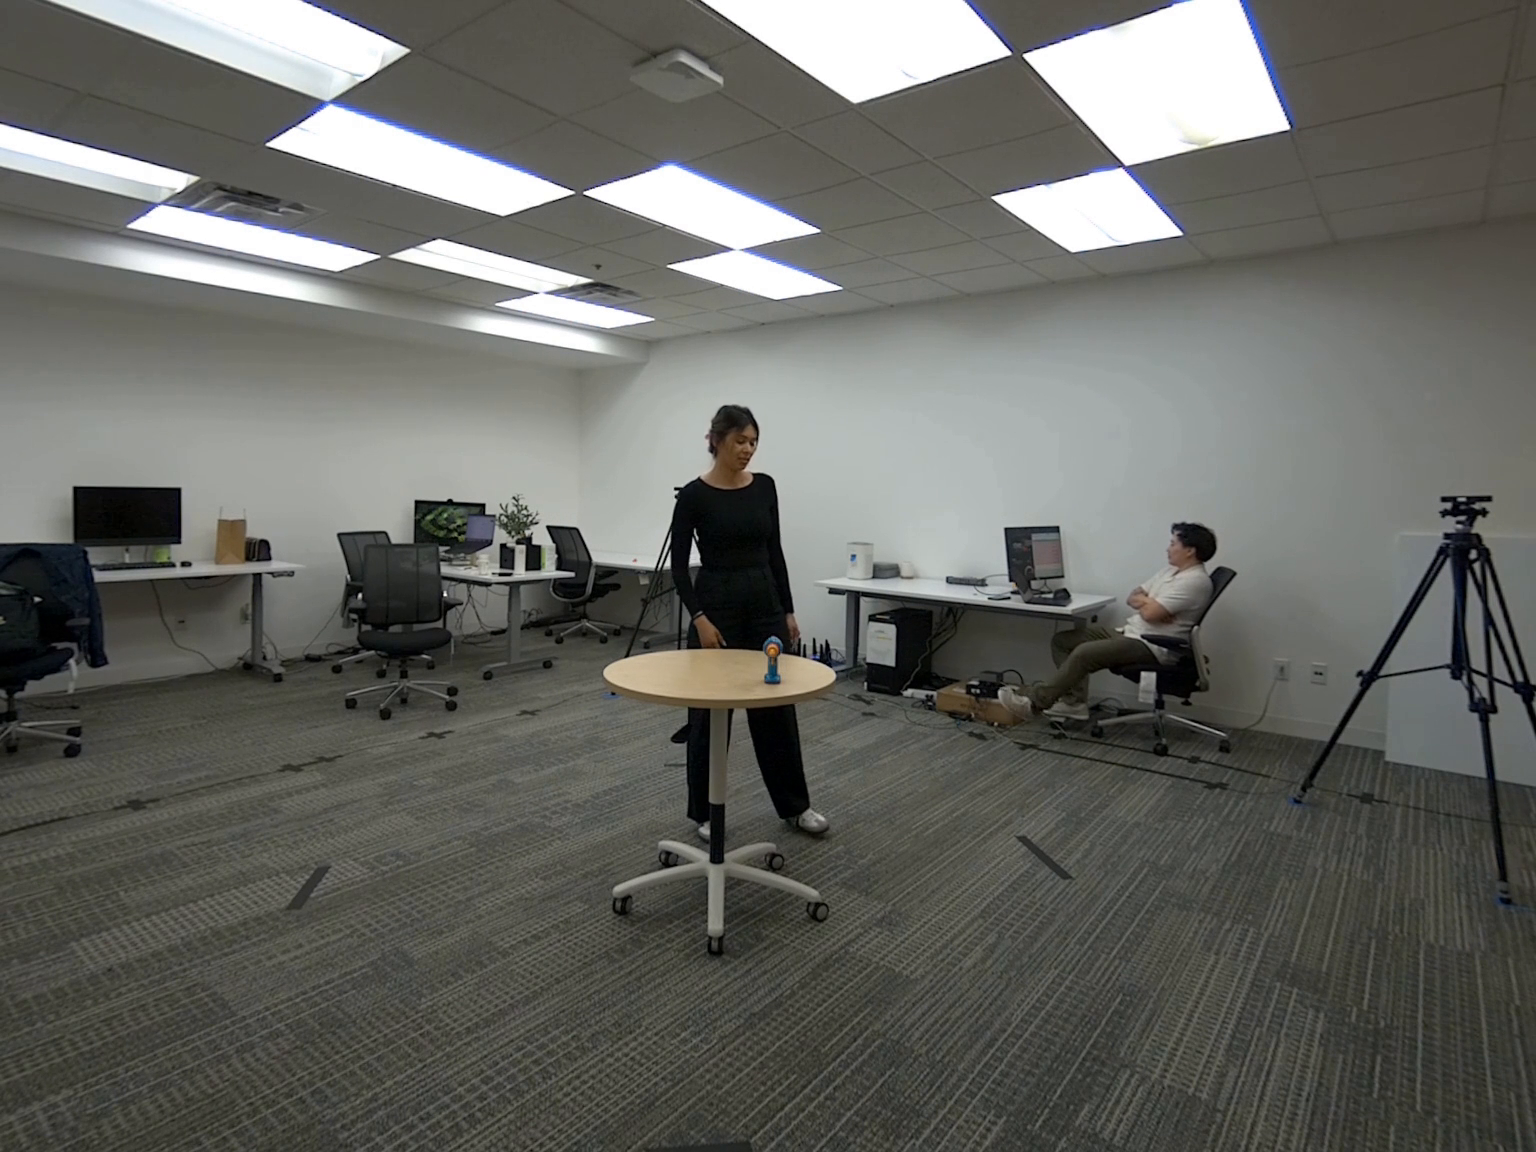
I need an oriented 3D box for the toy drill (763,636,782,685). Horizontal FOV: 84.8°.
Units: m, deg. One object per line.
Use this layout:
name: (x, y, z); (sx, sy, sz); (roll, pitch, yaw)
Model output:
toy drill: (0.008, 0.260, 2.625); (0.061, 0.145, 0.171); (-3, 4, -4)
